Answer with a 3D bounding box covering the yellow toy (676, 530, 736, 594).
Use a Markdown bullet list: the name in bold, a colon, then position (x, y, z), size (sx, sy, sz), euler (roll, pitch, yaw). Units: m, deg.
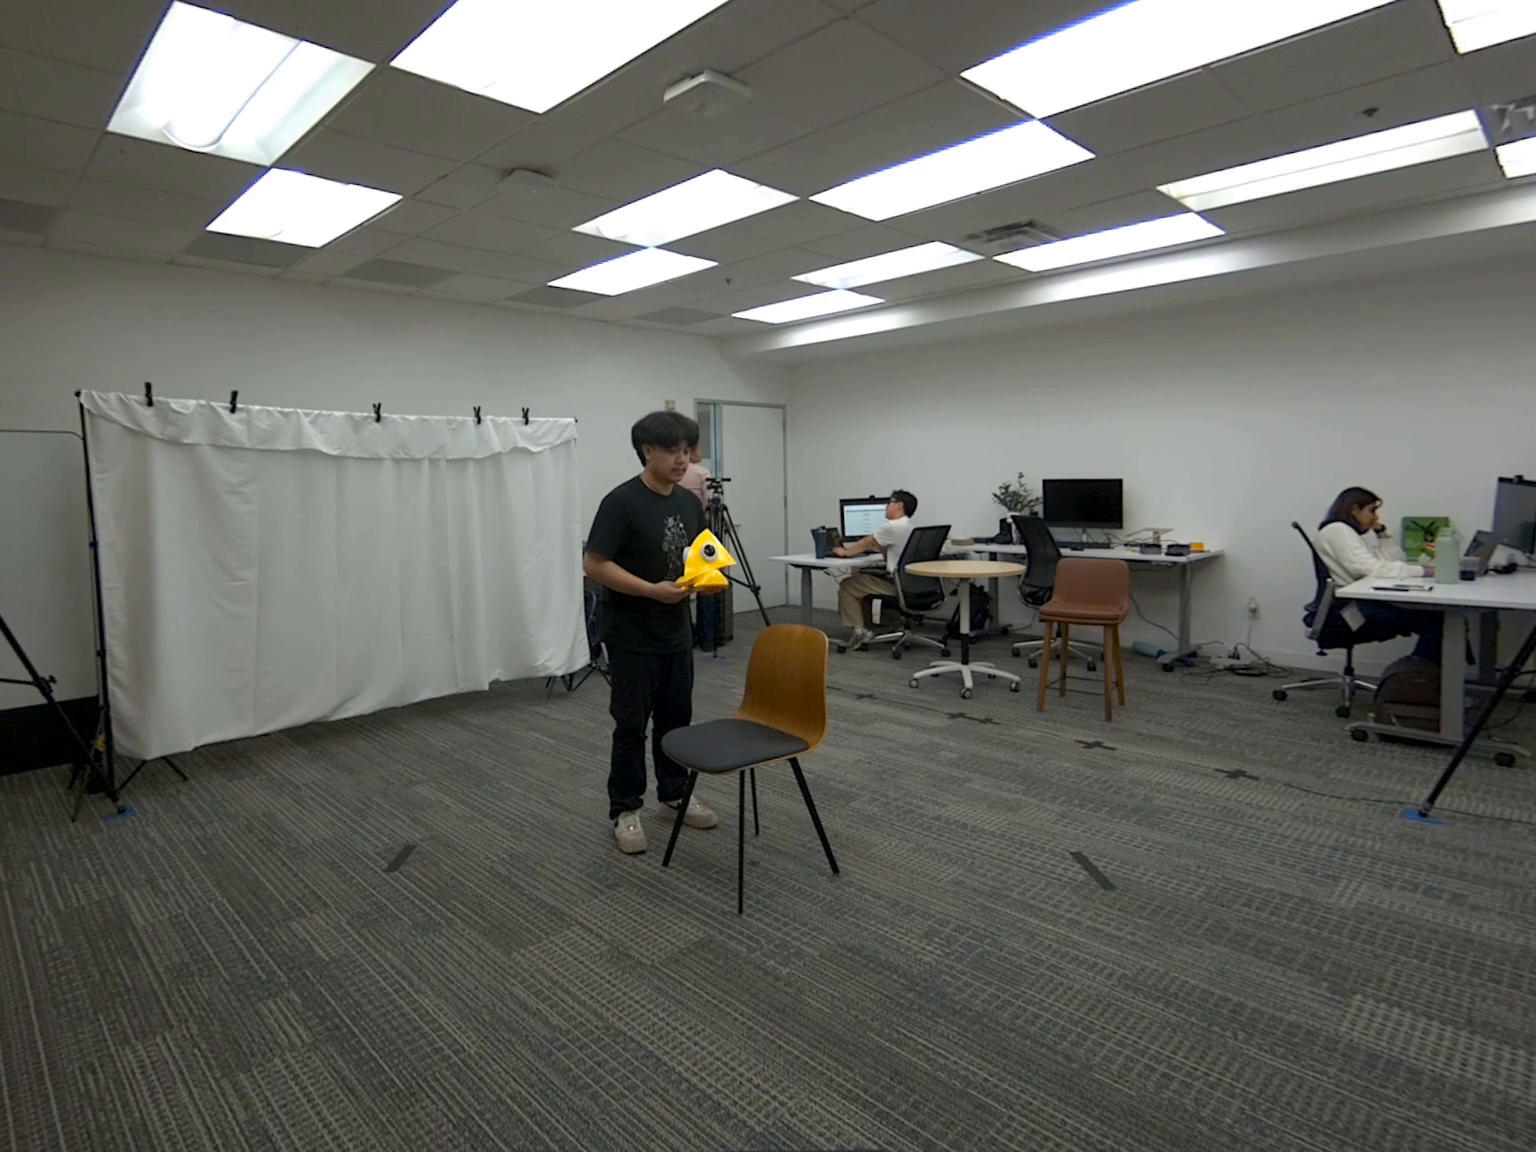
- **yellow toy**: position (-0.262, -0.061, 3.200), size (0.209, 0.232, 0.187), euler (-11, -9, 37)
